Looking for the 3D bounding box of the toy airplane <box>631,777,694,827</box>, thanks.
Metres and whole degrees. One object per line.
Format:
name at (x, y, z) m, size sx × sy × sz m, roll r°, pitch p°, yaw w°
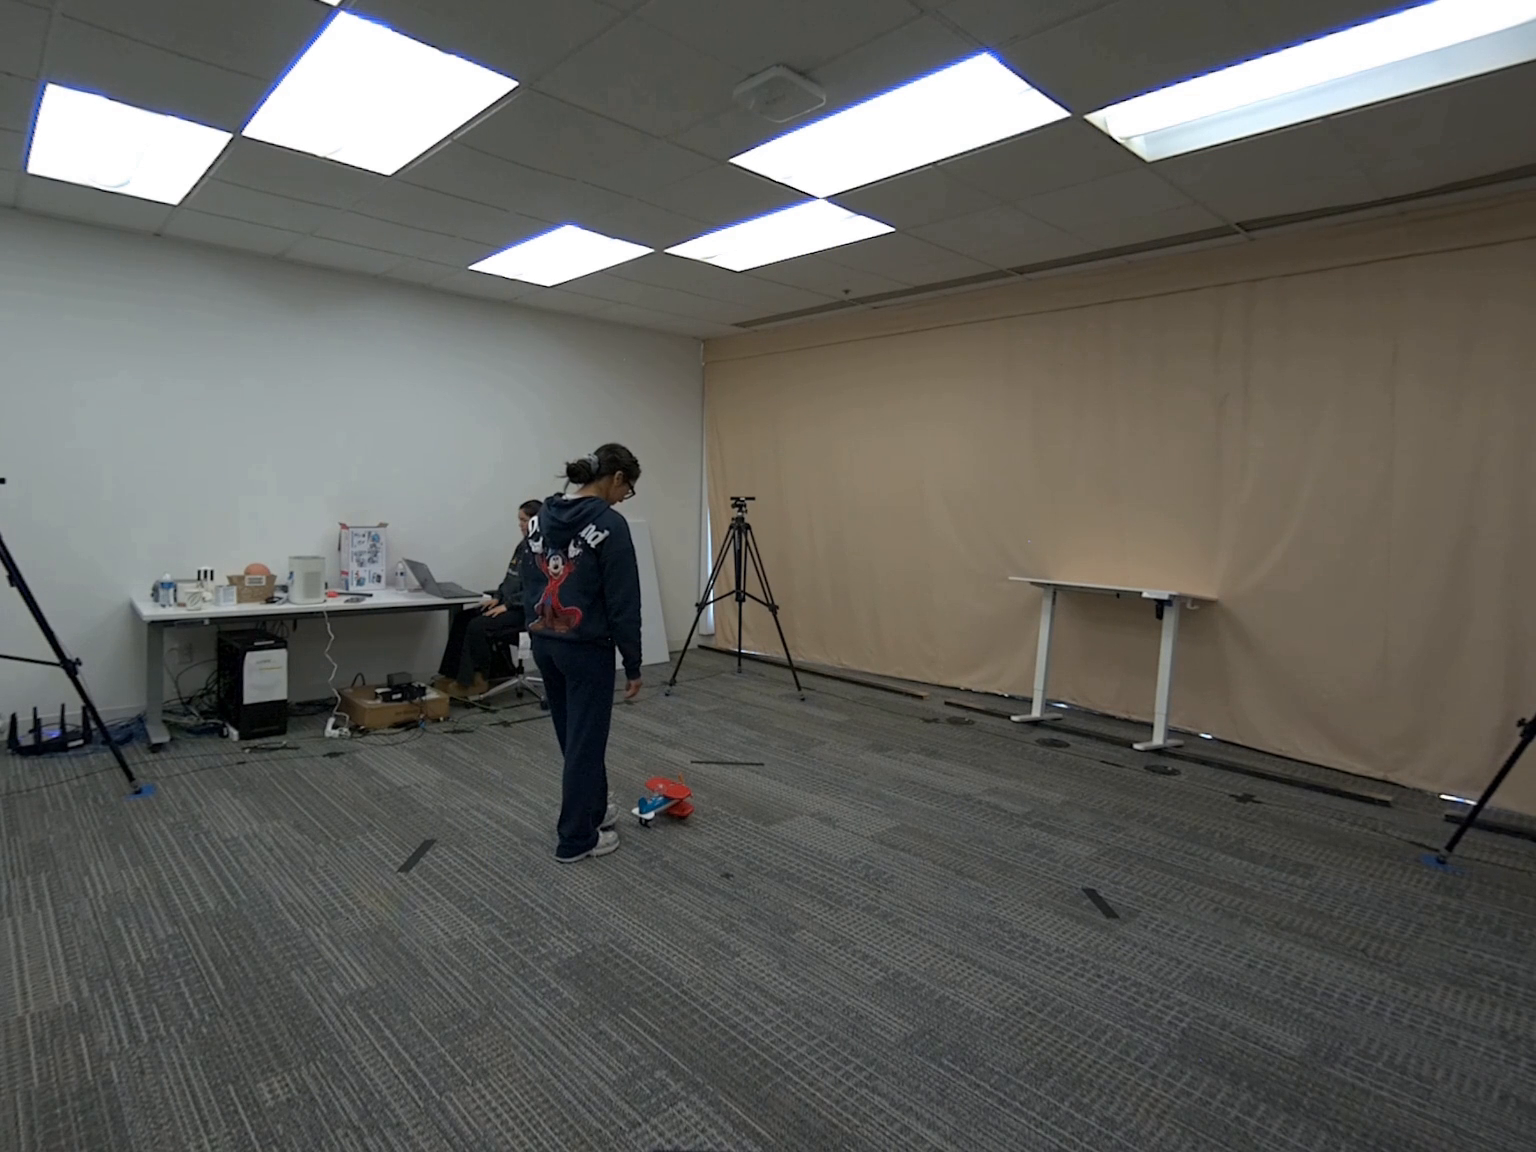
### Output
toy airplane at (-0.447, 0.978, 3.607) m, size 0.254 × 0.156 × 0.257 m, roll 2°, pitch 3°, yaw 14°
